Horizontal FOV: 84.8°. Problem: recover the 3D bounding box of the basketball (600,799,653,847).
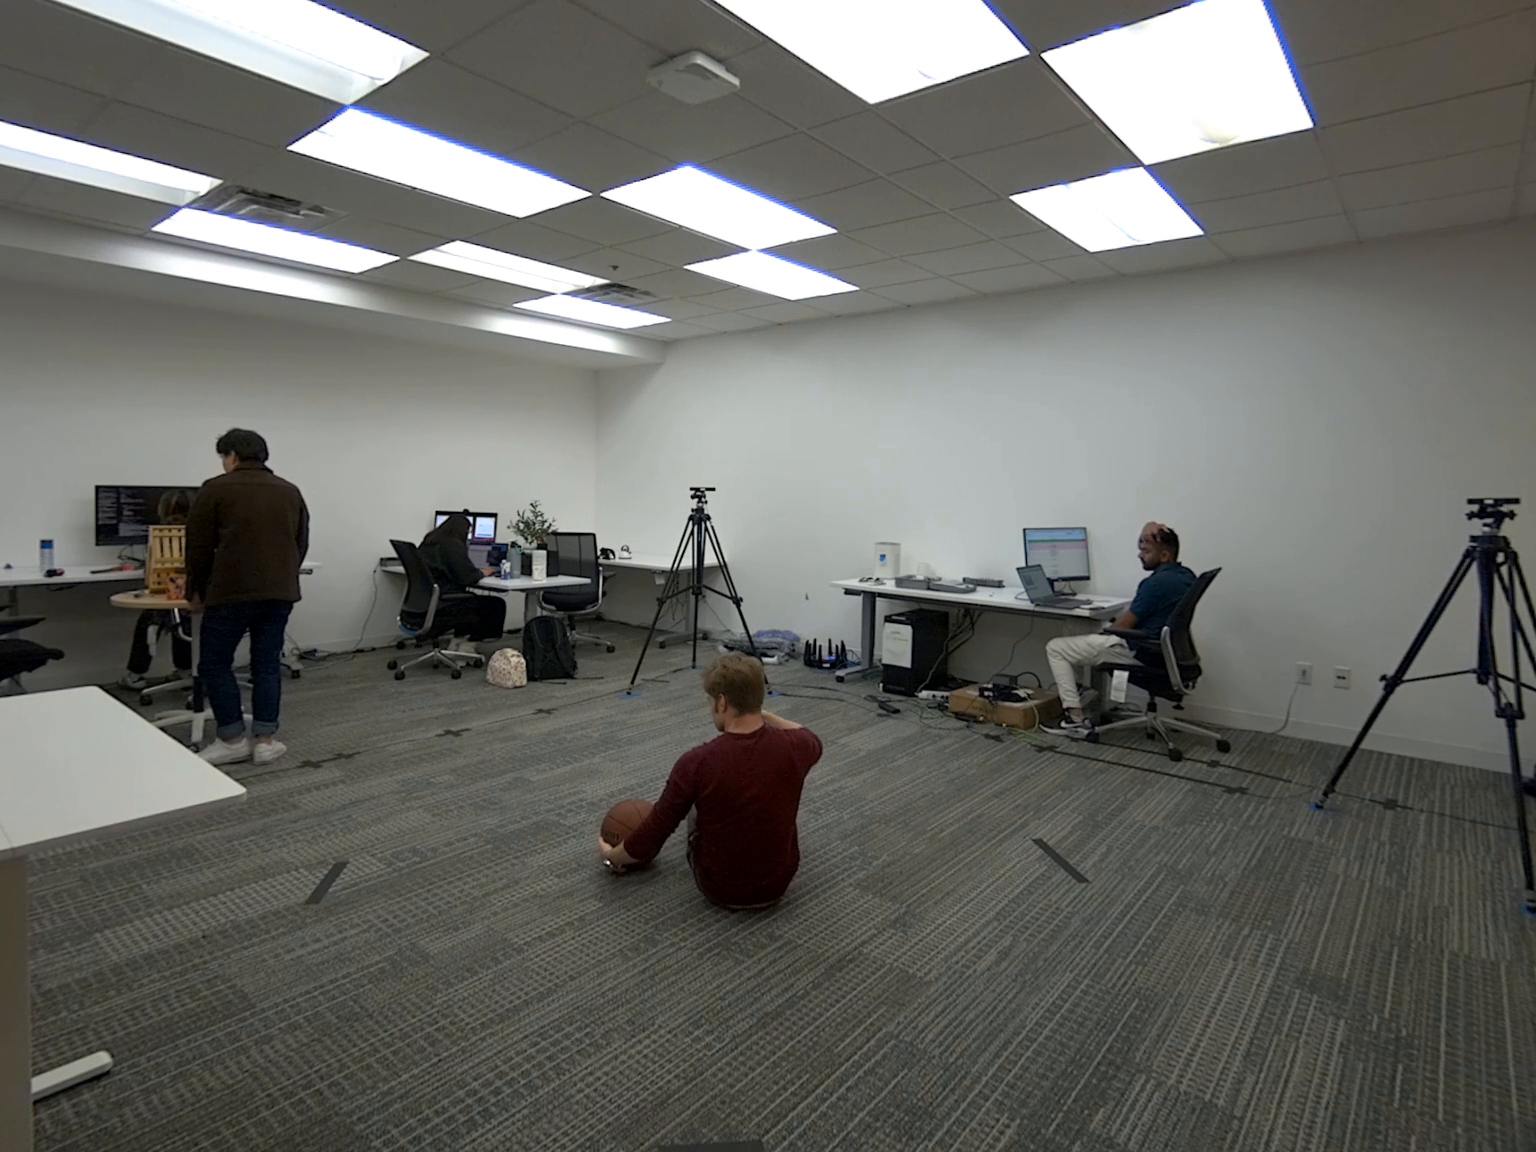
[{"bbox_3d":[-0.505,0.937,3.126,0.235,0.235,0.237,1,4,-2],"label":"basketball"}]
